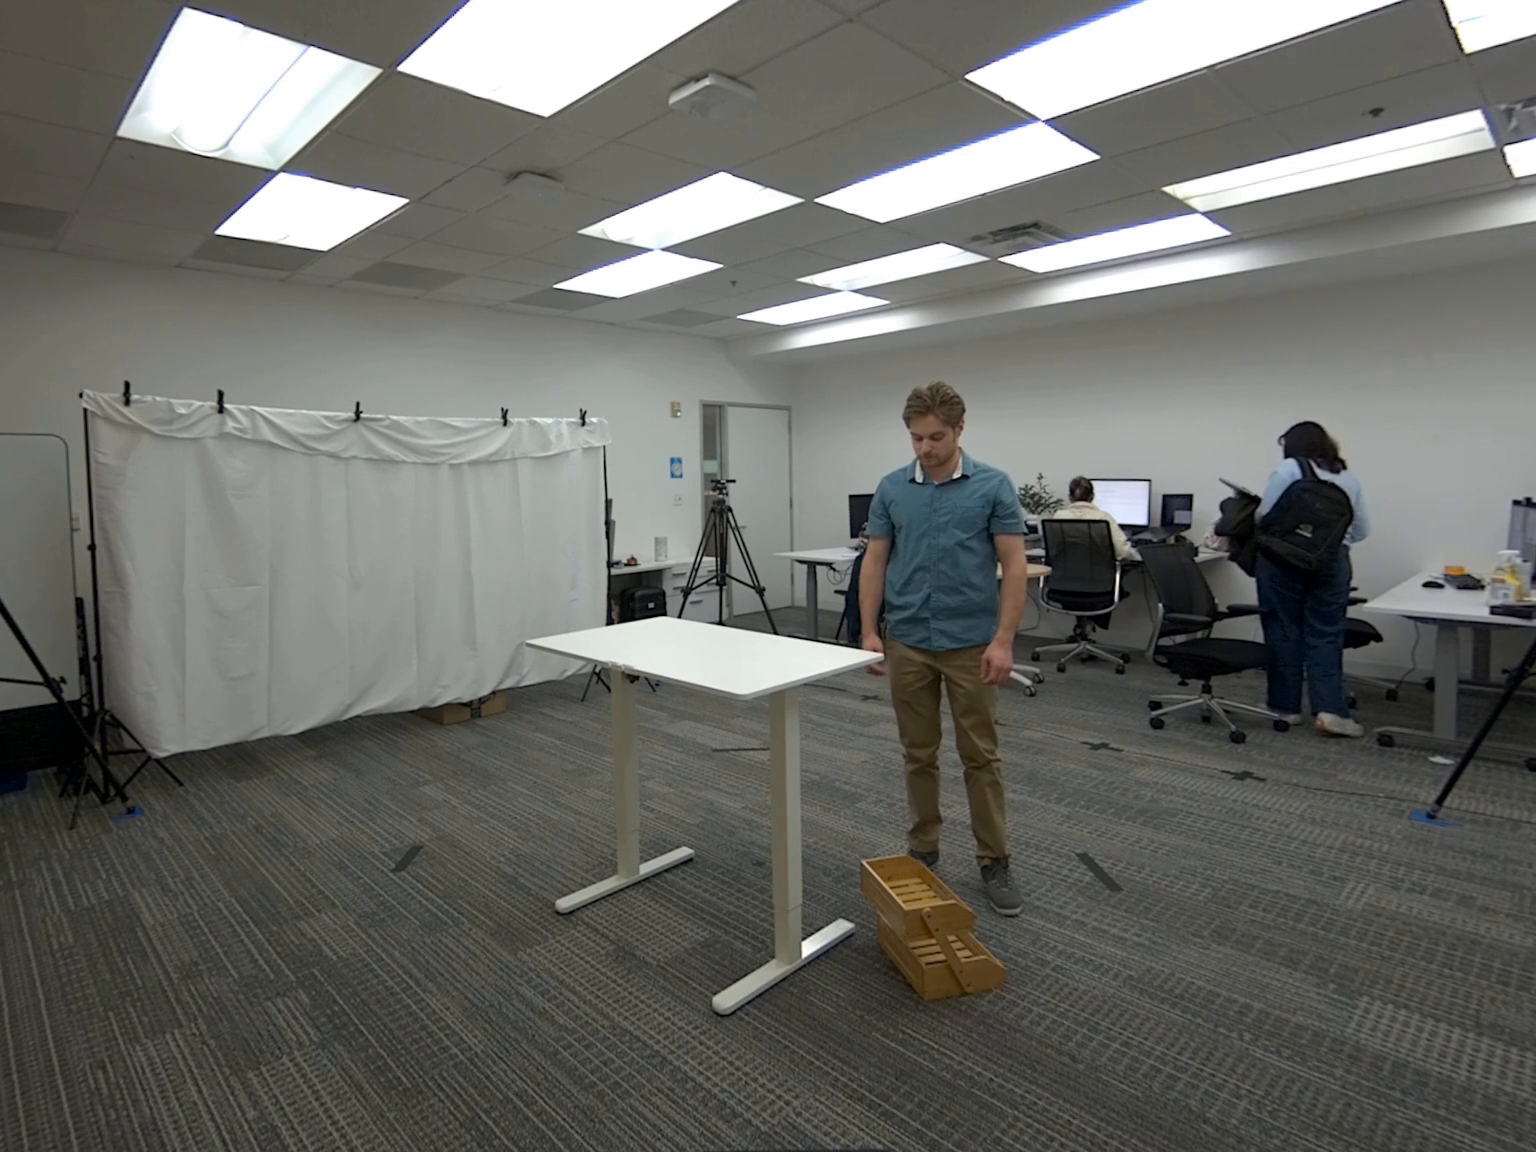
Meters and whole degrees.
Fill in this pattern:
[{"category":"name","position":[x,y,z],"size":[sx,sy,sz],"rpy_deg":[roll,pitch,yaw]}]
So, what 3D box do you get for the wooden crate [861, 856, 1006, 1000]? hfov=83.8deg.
[{"category":"wooden crate","position":[0.474,0.979,2.437],"size":[0.298,0.272,0.331],"rpy_deg":[-3,6,-16]}]
